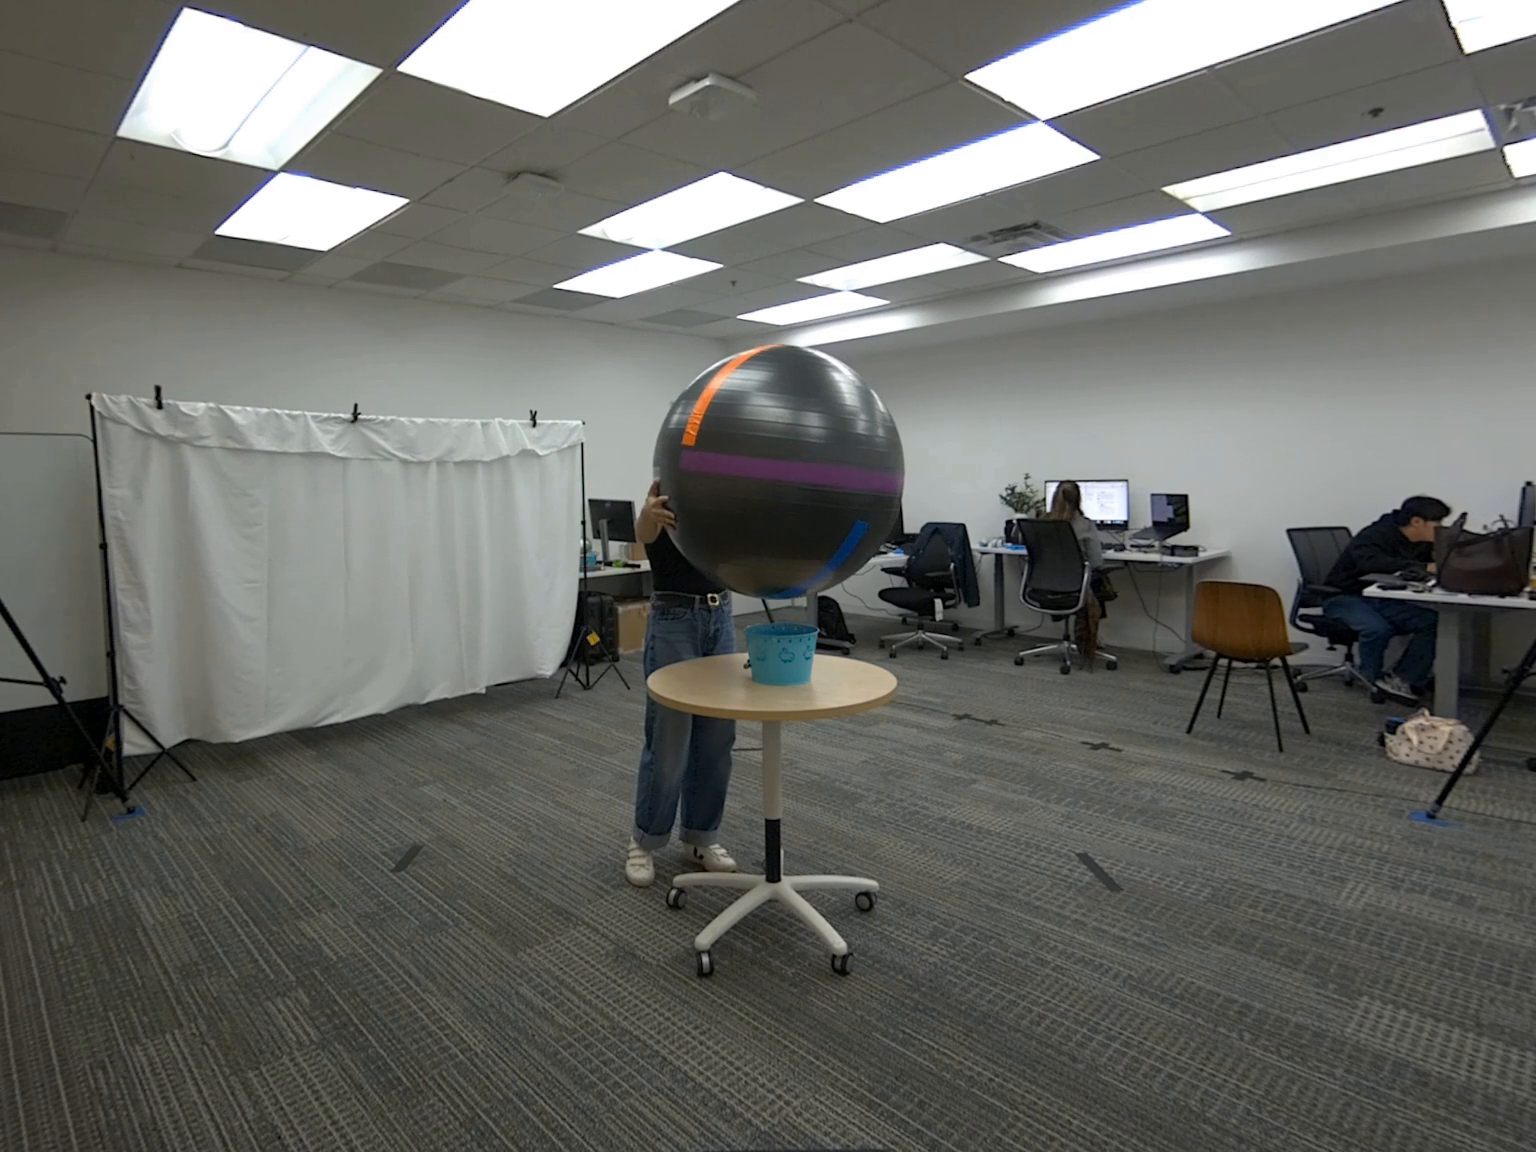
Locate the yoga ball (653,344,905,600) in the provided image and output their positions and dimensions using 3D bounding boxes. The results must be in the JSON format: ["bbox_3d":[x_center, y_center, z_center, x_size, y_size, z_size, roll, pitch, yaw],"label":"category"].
[{"bbox_3d":[0.035,-0.308,2.576,0.757,0.755,0.762,-1,5,-2],"label":"yoga ball"}]
